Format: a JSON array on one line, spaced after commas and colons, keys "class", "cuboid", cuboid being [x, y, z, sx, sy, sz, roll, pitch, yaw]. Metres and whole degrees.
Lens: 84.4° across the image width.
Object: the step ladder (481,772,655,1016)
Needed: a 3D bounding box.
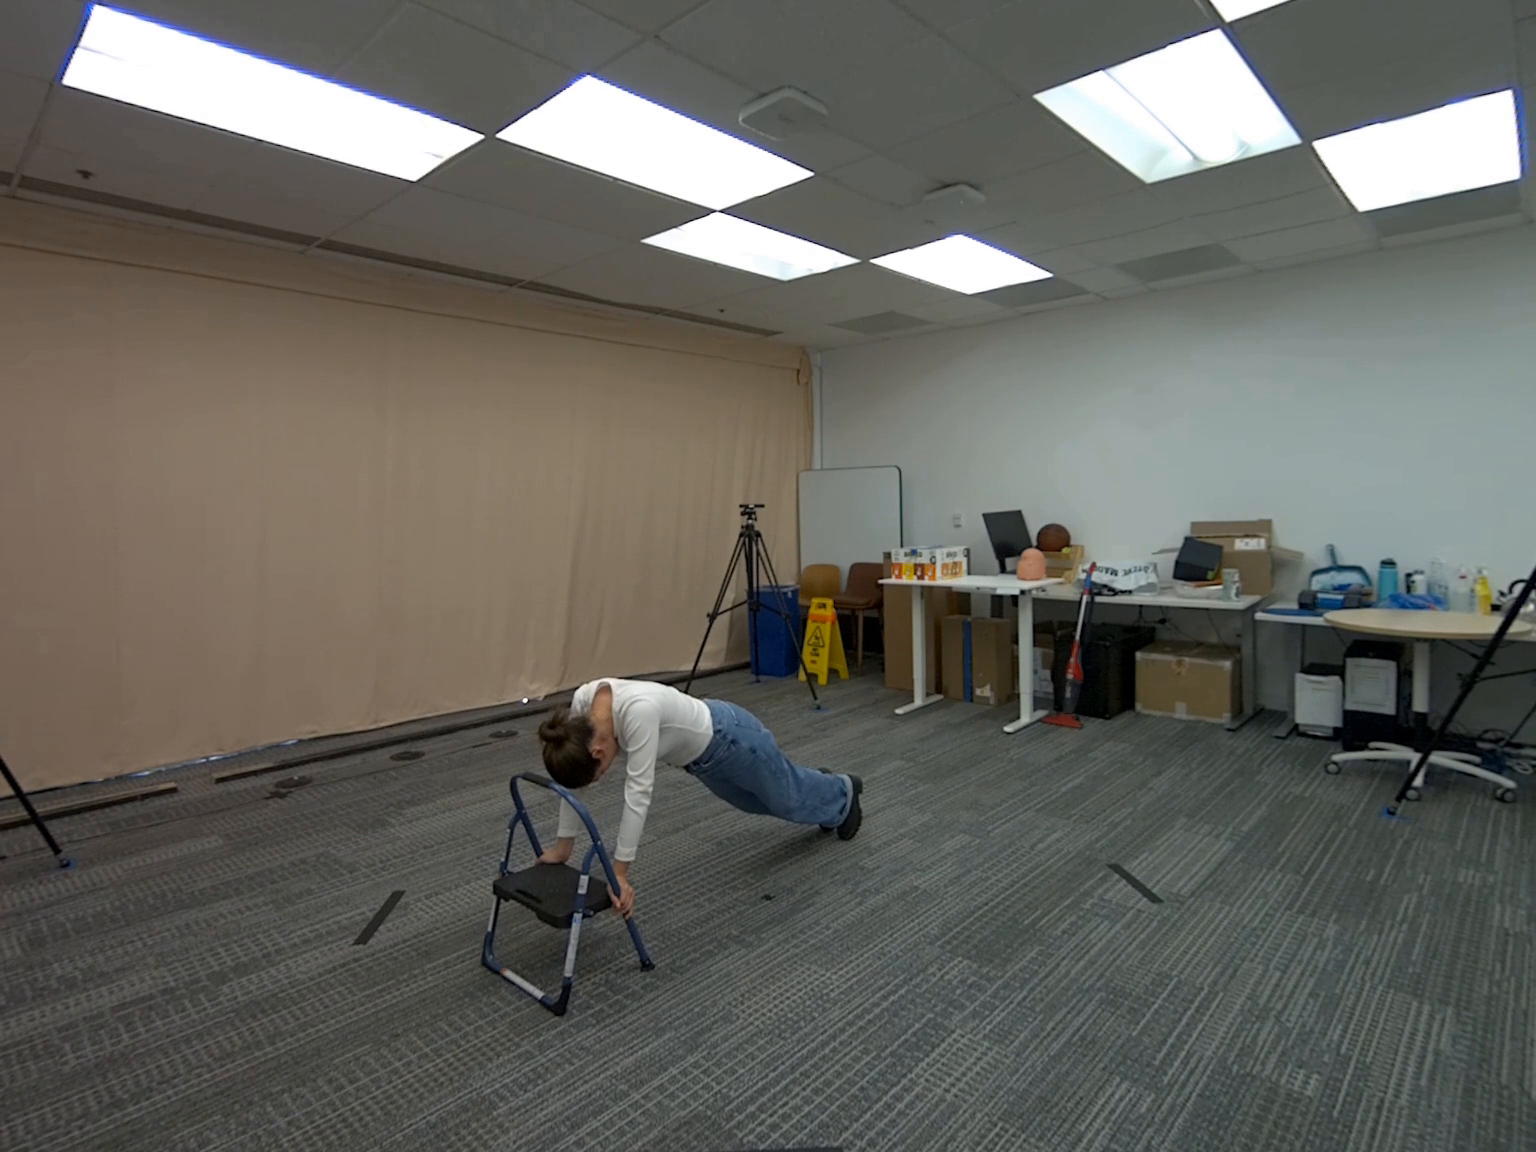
[{"class": "step ladder", "cuboid": [-0.622, 0.892, 2.547, 0.445, 0.605, 0.339, 2, 4, 41]}]
